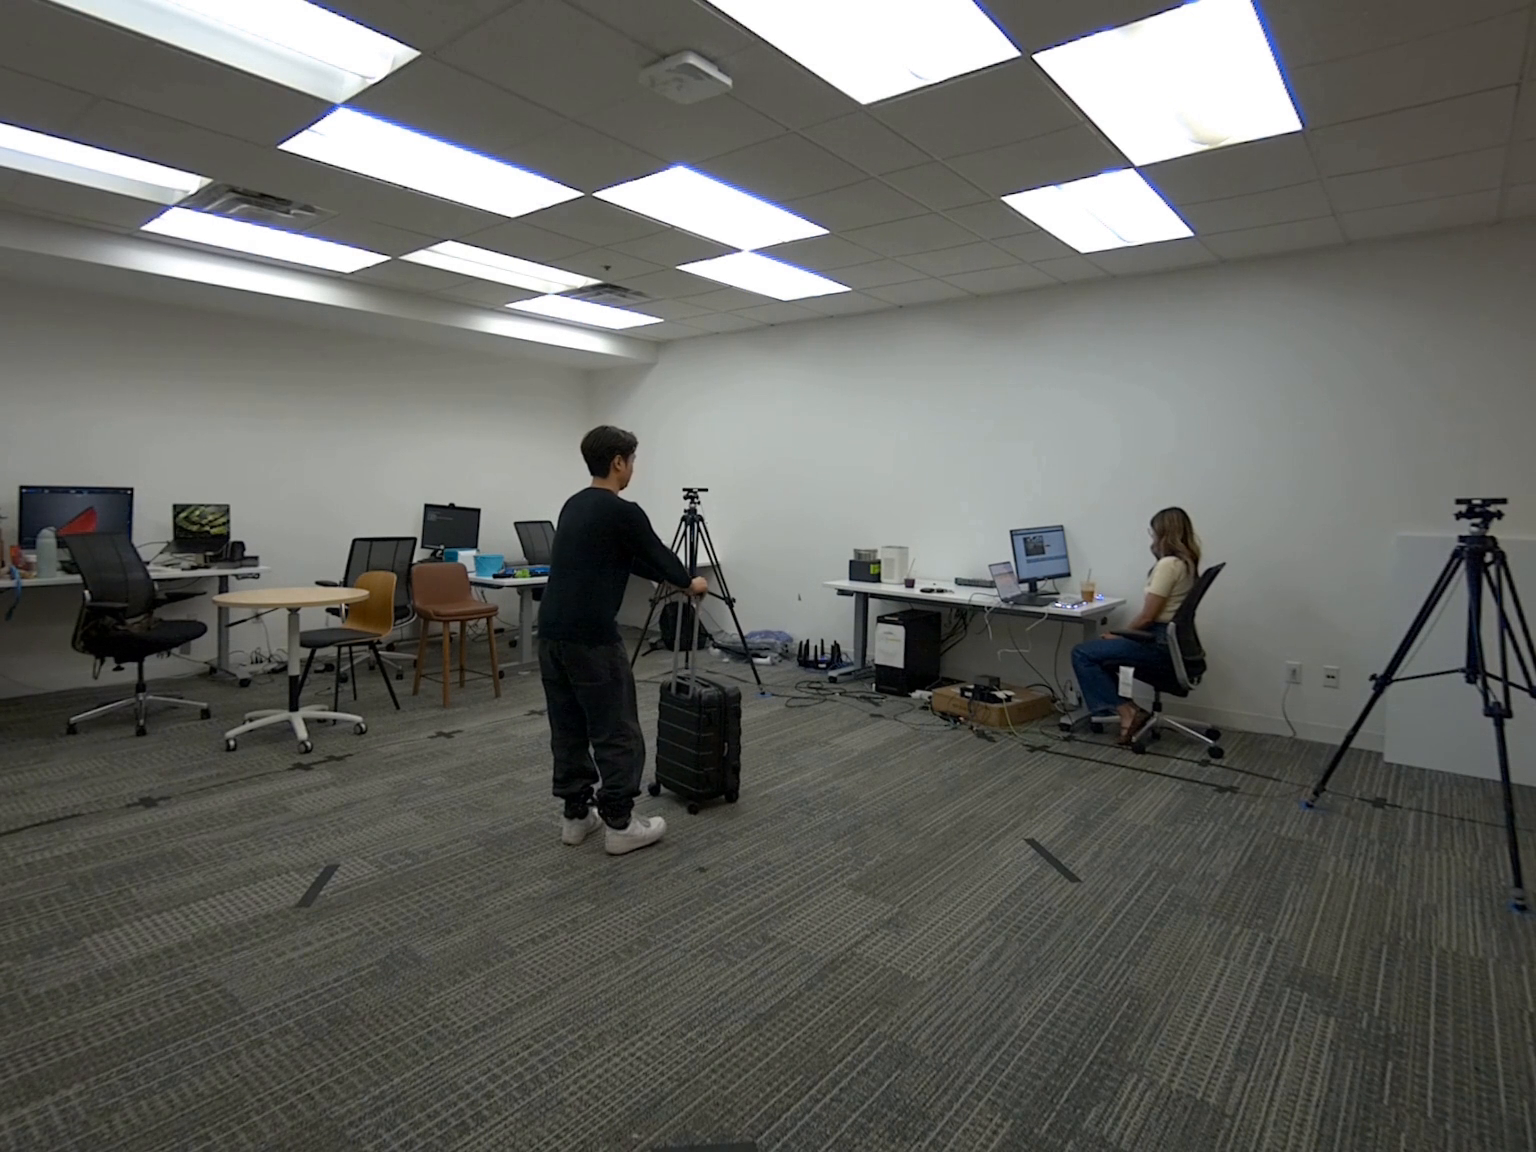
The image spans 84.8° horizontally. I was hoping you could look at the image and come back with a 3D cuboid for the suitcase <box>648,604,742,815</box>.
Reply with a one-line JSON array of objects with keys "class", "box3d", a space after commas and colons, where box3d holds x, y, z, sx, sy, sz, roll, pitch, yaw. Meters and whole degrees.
[{"class": "suitcase", "box3d": [-0.313, 0.525, 3.815, 0.249, 0.976, 0.397, 1, 3, -42]}]
